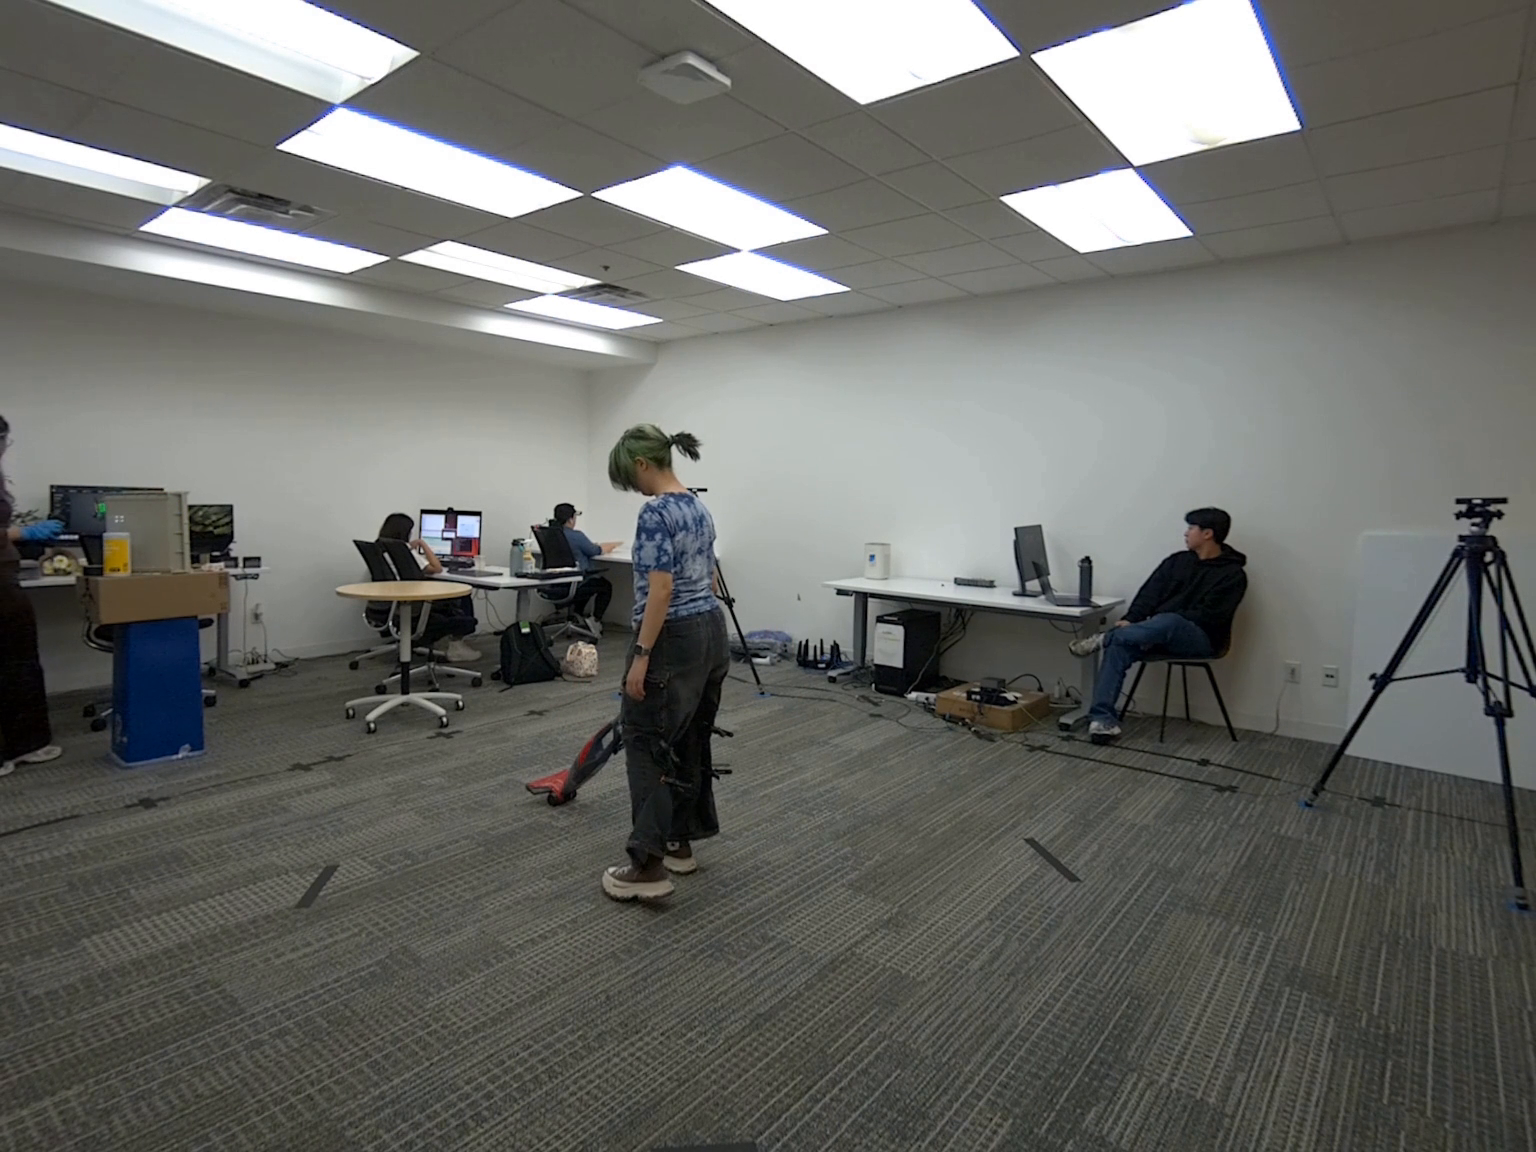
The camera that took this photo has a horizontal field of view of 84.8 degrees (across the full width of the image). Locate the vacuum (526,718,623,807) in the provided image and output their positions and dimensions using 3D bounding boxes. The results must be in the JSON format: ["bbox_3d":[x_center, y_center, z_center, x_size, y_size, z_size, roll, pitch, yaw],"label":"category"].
[{"bbox_3d":[-0.642,0.642,3.544,1.051,0.148,0.246,-44,-20,29],"label":"vacuum"}]
